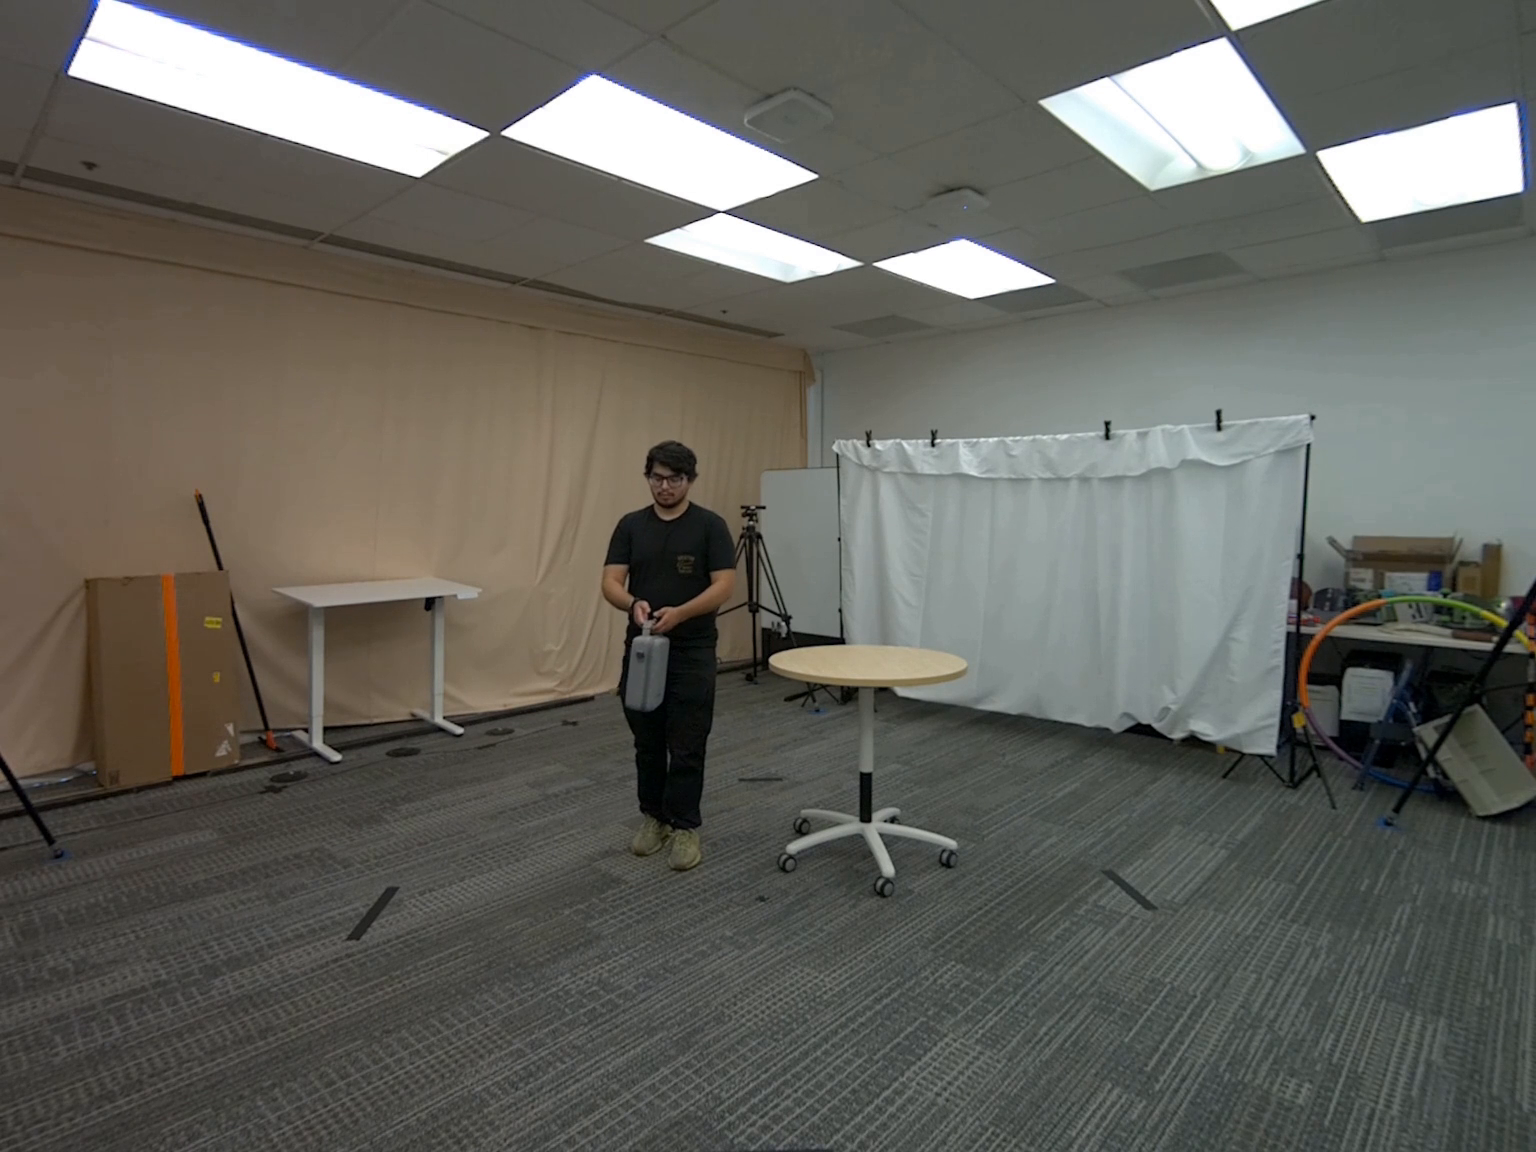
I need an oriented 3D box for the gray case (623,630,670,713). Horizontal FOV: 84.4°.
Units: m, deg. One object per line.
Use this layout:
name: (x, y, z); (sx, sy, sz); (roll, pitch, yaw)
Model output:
gray case: (-0.426, 0.336, 2.978); (0.105, 0.261, 0.254); (5, -3, 5)
